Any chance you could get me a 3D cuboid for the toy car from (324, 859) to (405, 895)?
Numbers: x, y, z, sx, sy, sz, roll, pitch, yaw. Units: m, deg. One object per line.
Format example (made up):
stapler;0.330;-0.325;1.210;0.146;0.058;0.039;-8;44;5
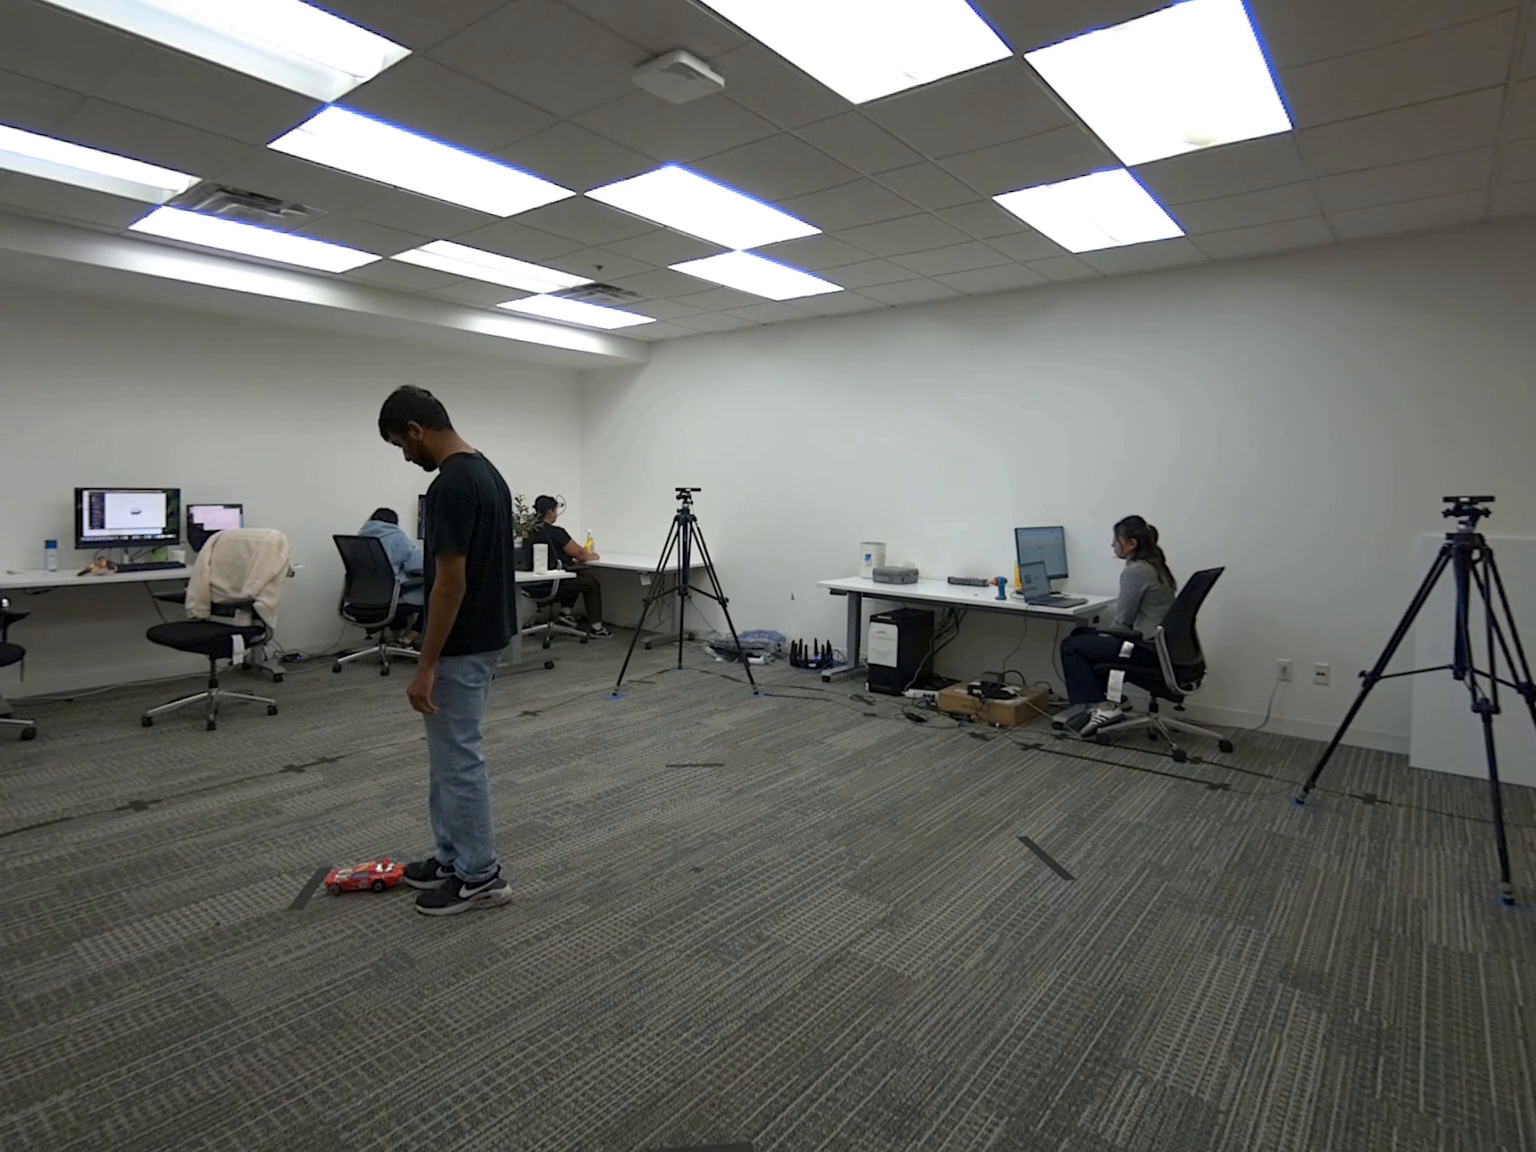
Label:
toy car;-1.397;1.040;2.942;0.253;0.083;0.132;-11;6;-7
